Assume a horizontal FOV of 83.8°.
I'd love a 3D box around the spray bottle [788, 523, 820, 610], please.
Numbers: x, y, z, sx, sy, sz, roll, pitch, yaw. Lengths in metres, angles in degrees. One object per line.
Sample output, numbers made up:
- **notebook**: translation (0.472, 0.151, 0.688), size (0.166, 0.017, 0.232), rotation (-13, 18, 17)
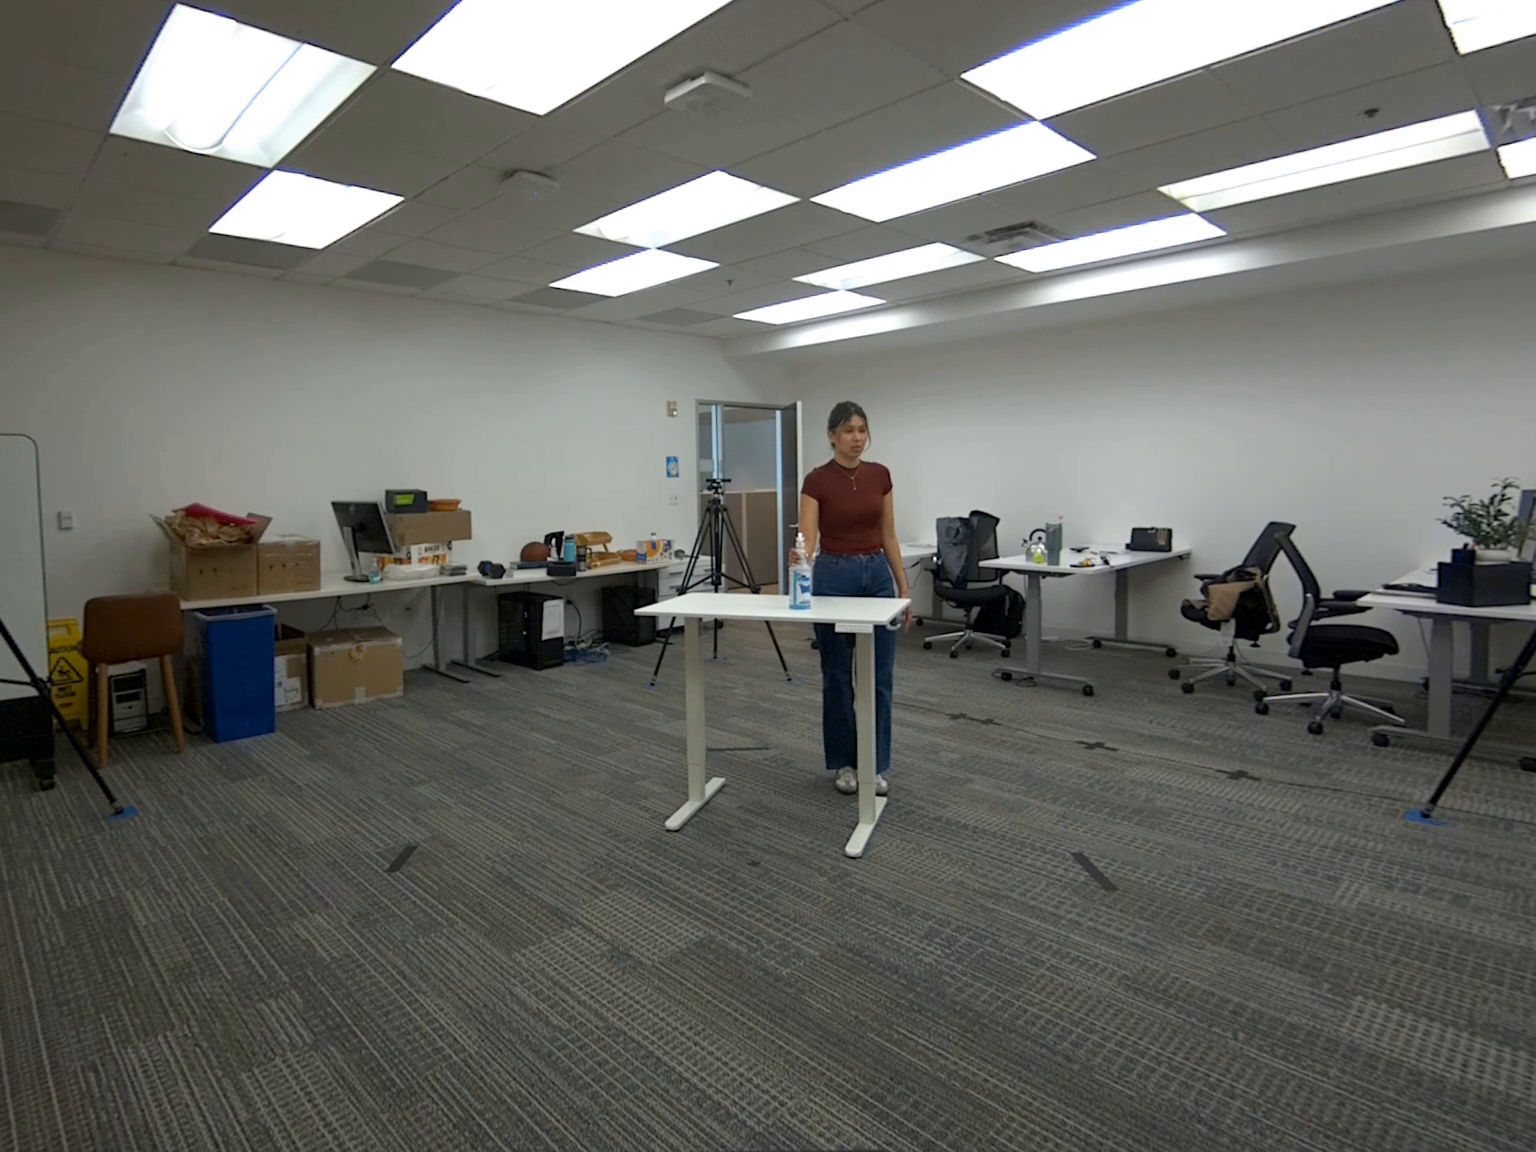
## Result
- **spray bottle**: translation (0.132, -0.025, 3.386), size (0.089, 0.297, 0.088), rotation (0, -1, 29)
